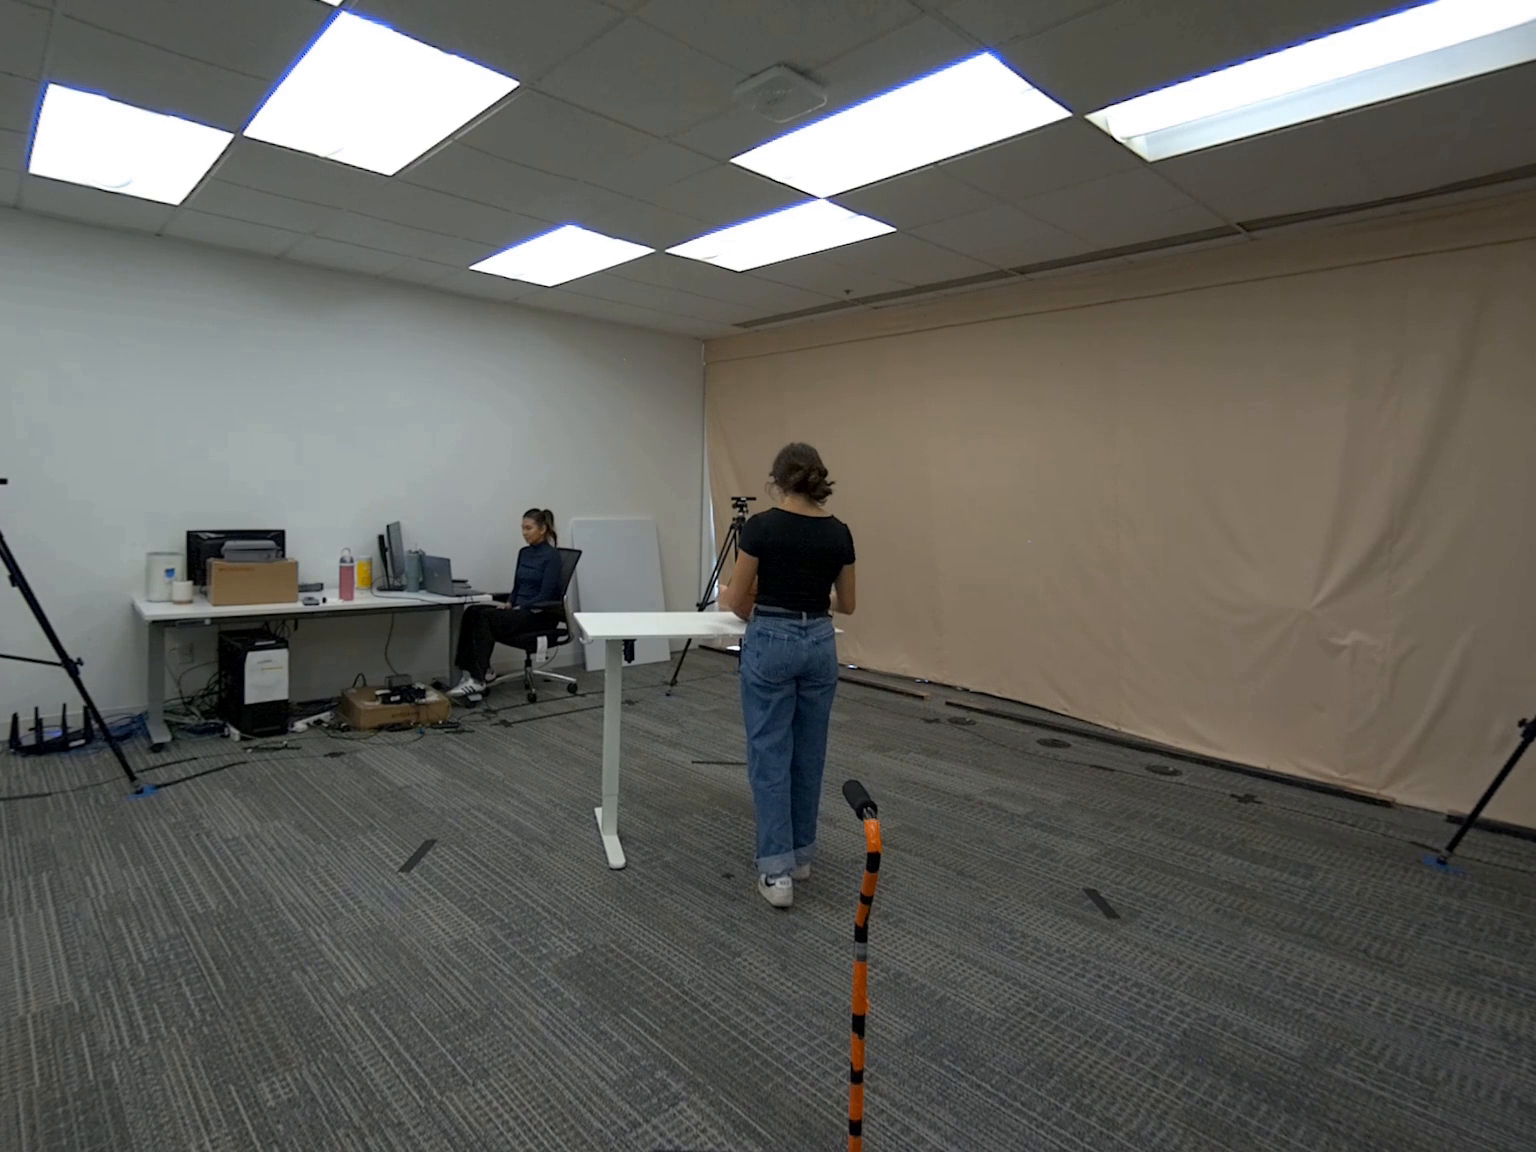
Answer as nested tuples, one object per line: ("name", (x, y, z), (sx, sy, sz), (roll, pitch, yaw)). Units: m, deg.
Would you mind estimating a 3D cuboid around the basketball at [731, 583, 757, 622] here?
("basketball", (-0.050, 0.075, 3.494), (0.236, 0.235, 0.237), (1, 4, -1))
